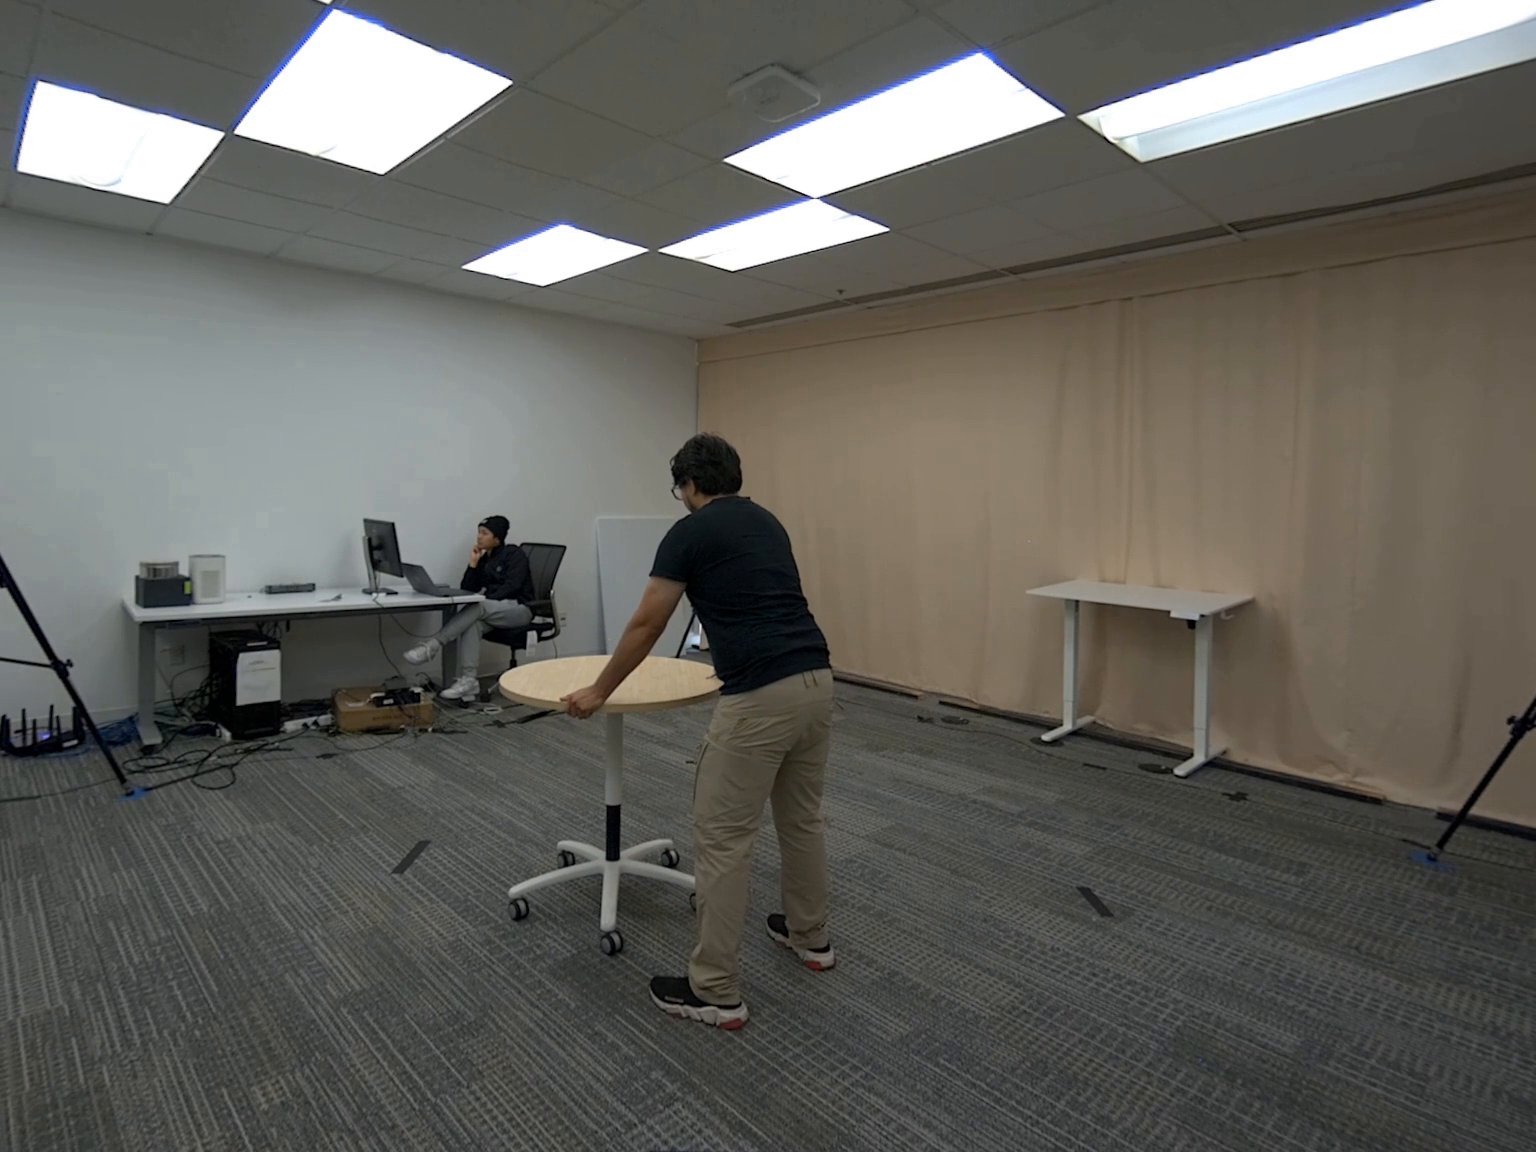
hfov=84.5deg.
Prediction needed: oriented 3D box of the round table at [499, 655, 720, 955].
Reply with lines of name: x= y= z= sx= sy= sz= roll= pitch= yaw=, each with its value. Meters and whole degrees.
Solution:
round table: x=-0.518 y=0.728 z=2.885 sx=0.784 sy=0.784 sz=0.788 roll=1 pitch=4 yaw=-1
